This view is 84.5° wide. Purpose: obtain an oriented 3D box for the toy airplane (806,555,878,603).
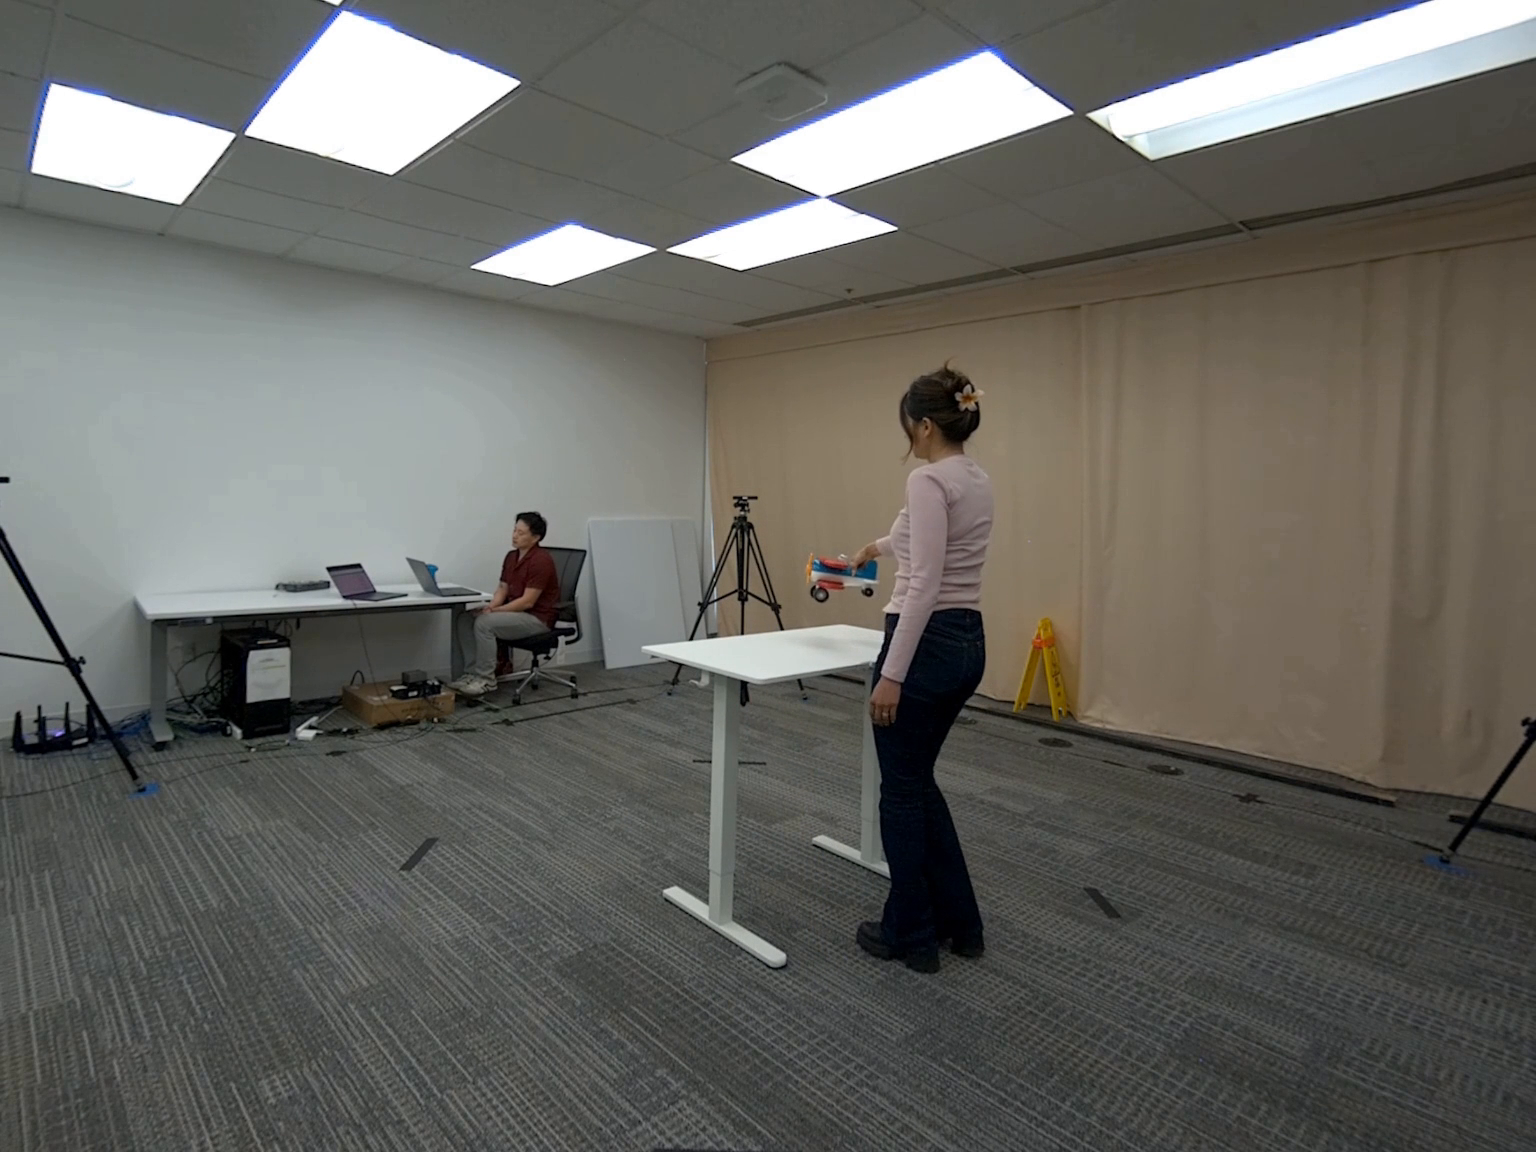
[{"bbox_3d":[0.243,-0.002,3.058,0.254,0.156,0.257,-9,8,-33],"label":"toy airplane"}]
